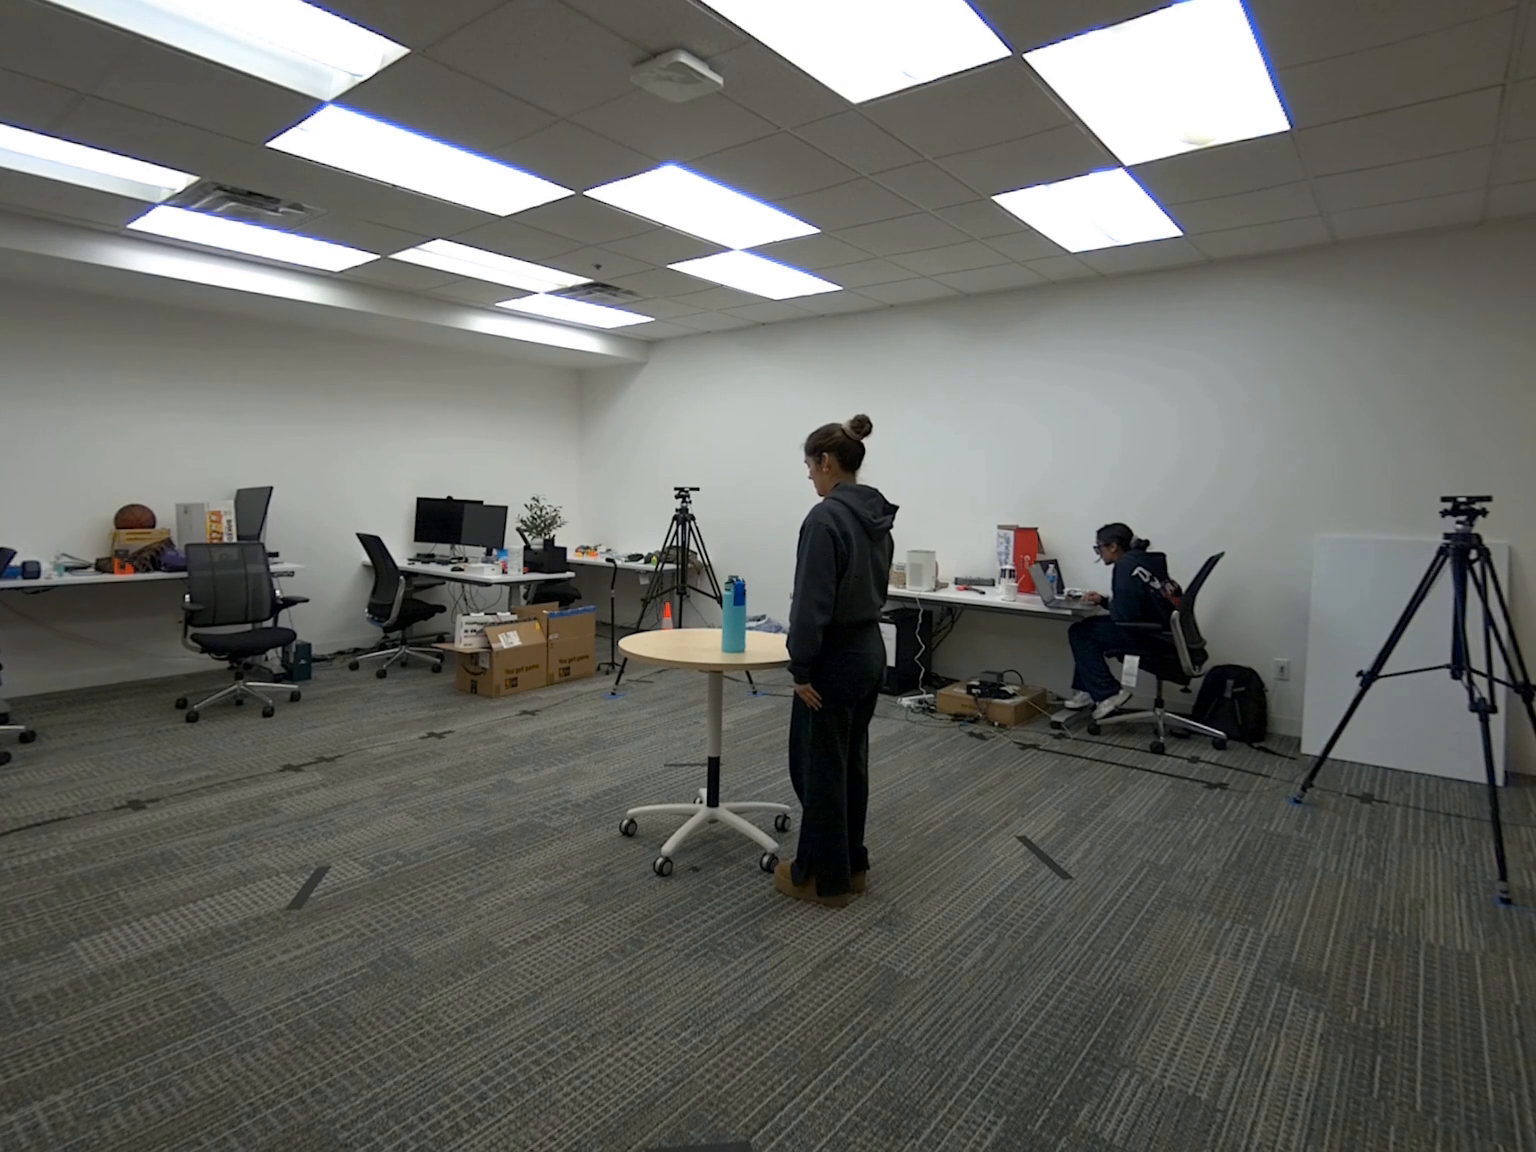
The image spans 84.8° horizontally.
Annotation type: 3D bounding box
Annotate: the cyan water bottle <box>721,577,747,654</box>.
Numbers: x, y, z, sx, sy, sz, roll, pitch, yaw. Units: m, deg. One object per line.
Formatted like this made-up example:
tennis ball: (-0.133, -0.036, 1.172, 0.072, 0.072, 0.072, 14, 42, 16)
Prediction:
cyan water bottle: (-0.127, 0.140, 3.179, 0.092, 0.282, 0.093, 2, 4, -2)
